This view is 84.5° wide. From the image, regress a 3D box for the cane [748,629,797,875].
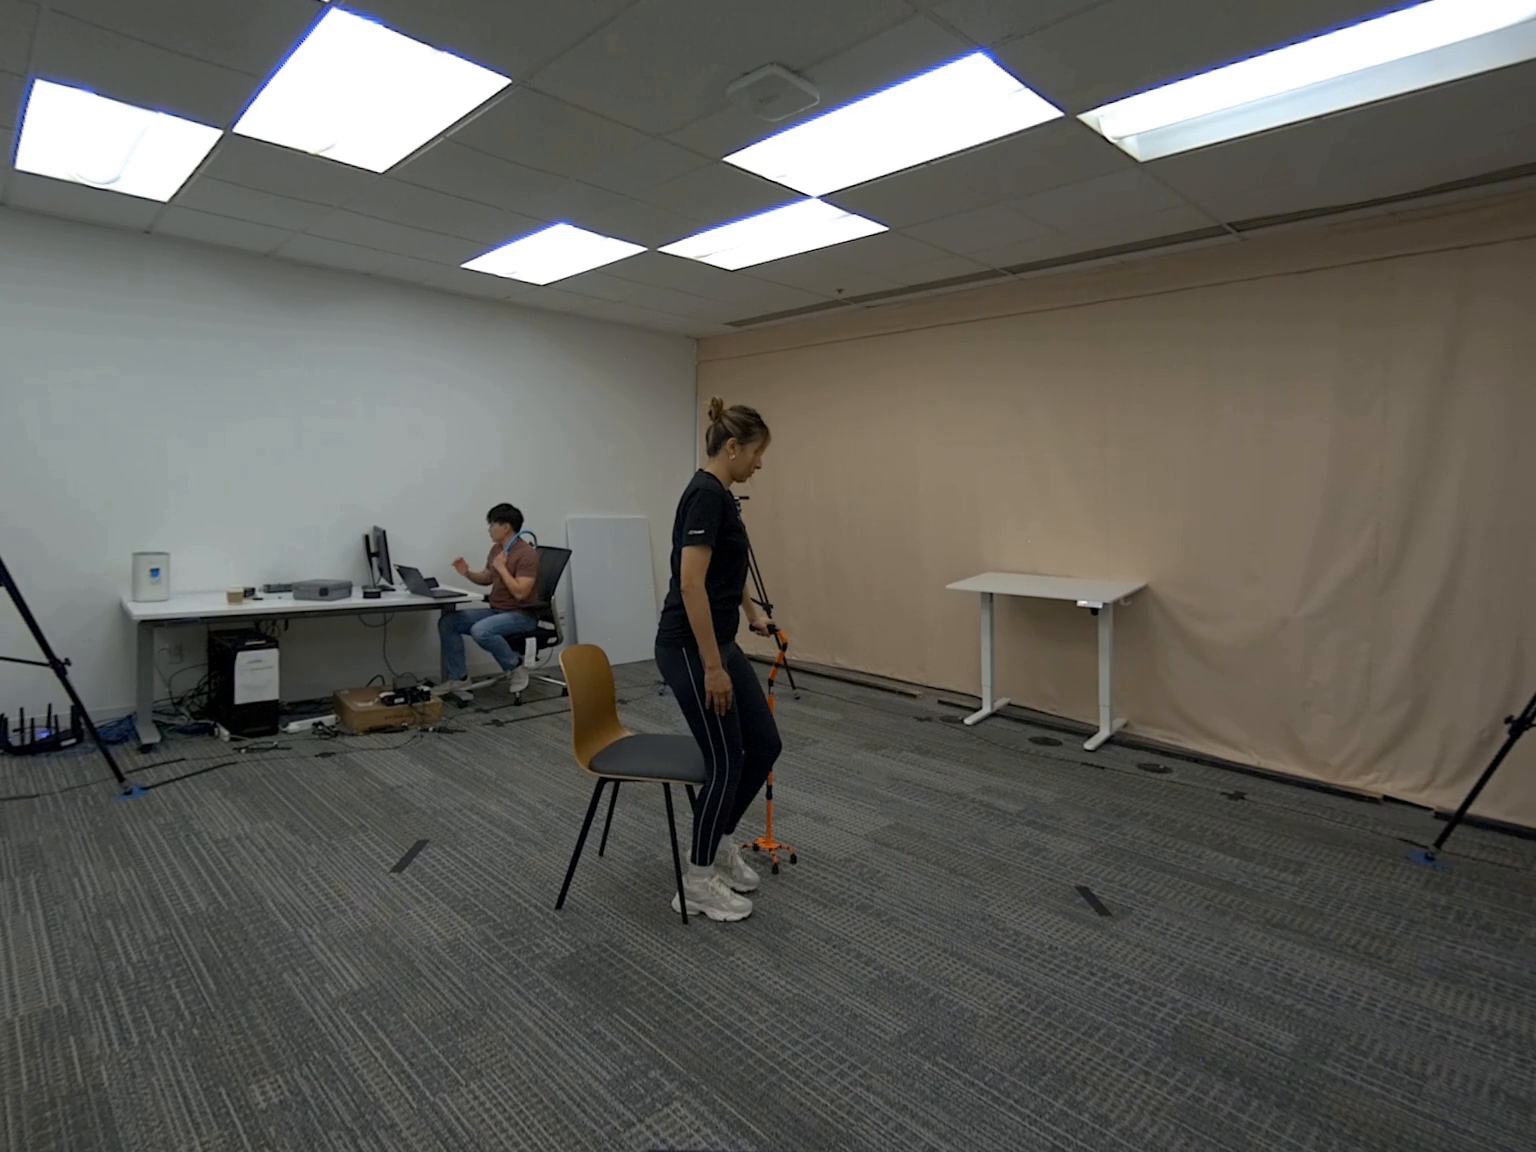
[{"bbox_3d":[-0.004,0.647,3.217,0.211,0.906,0.148,3,3,36],"label":"cane"}]
